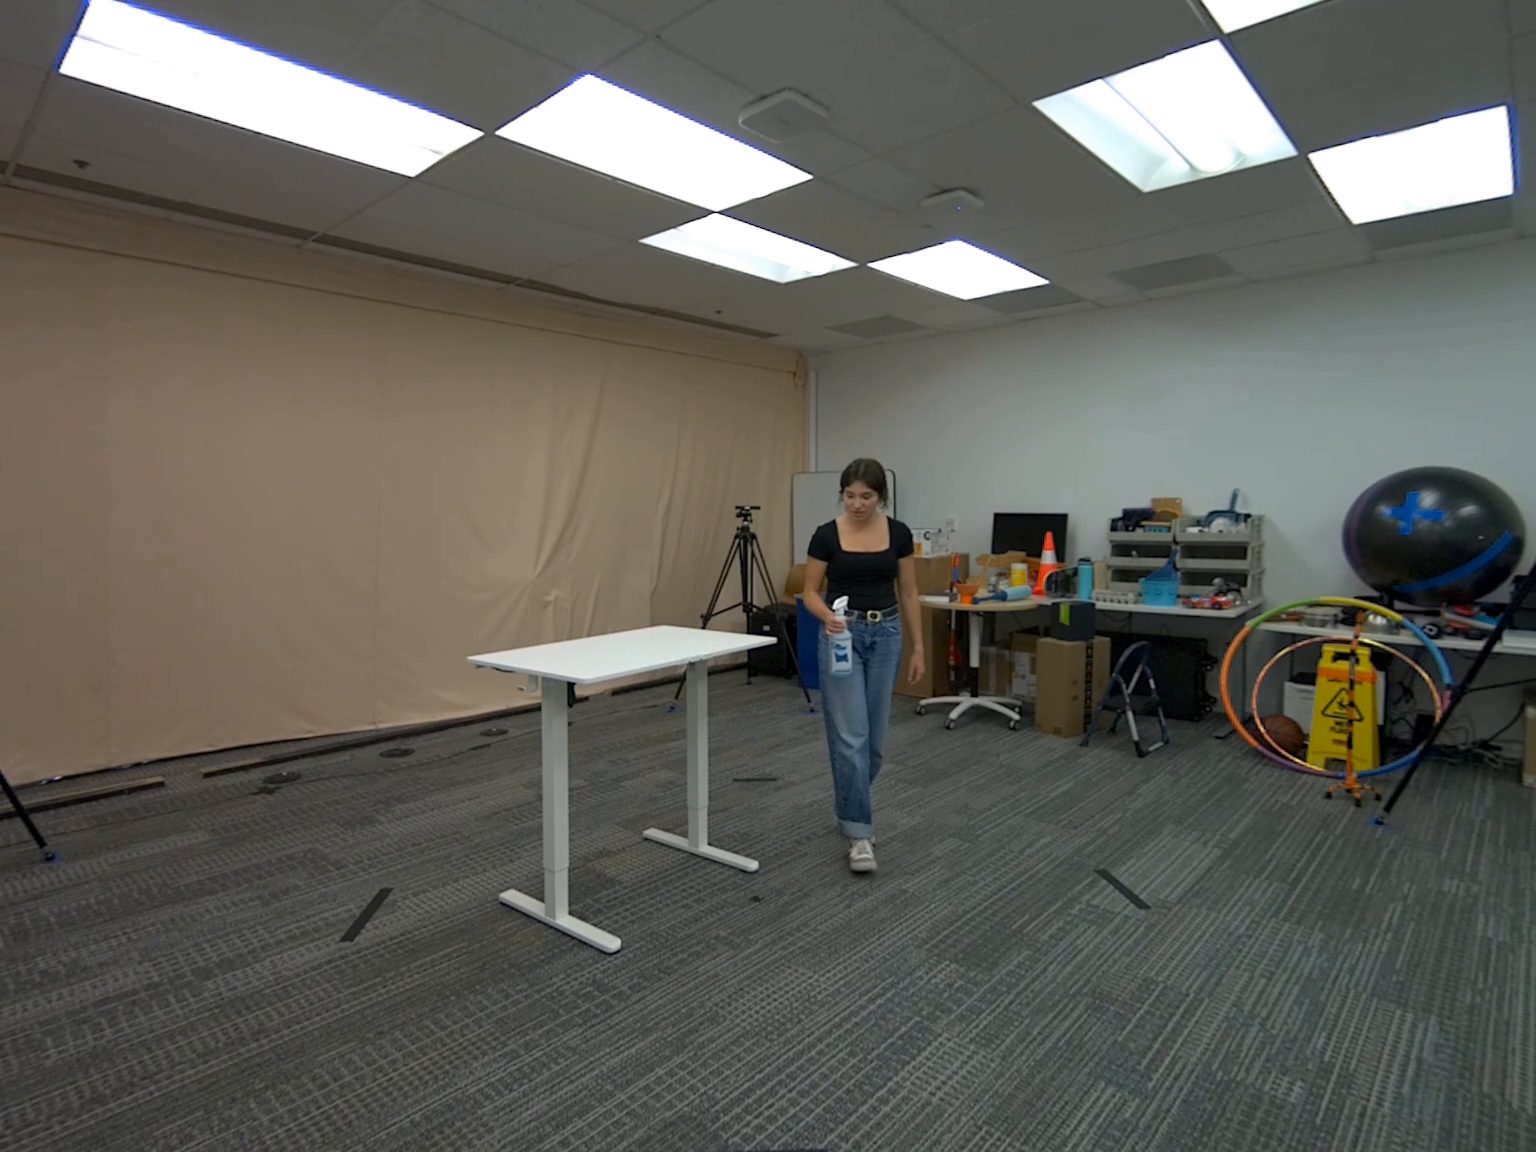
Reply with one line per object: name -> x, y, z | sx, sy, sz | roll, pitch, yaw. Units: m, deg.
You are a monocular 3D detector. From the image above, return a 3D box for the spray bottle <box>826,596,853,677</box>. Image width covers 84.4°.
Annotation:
spray bottle -> 0.271, 0.232, 3.200 | 0.088, 0.295, 0.089 | -5, 11, -22
